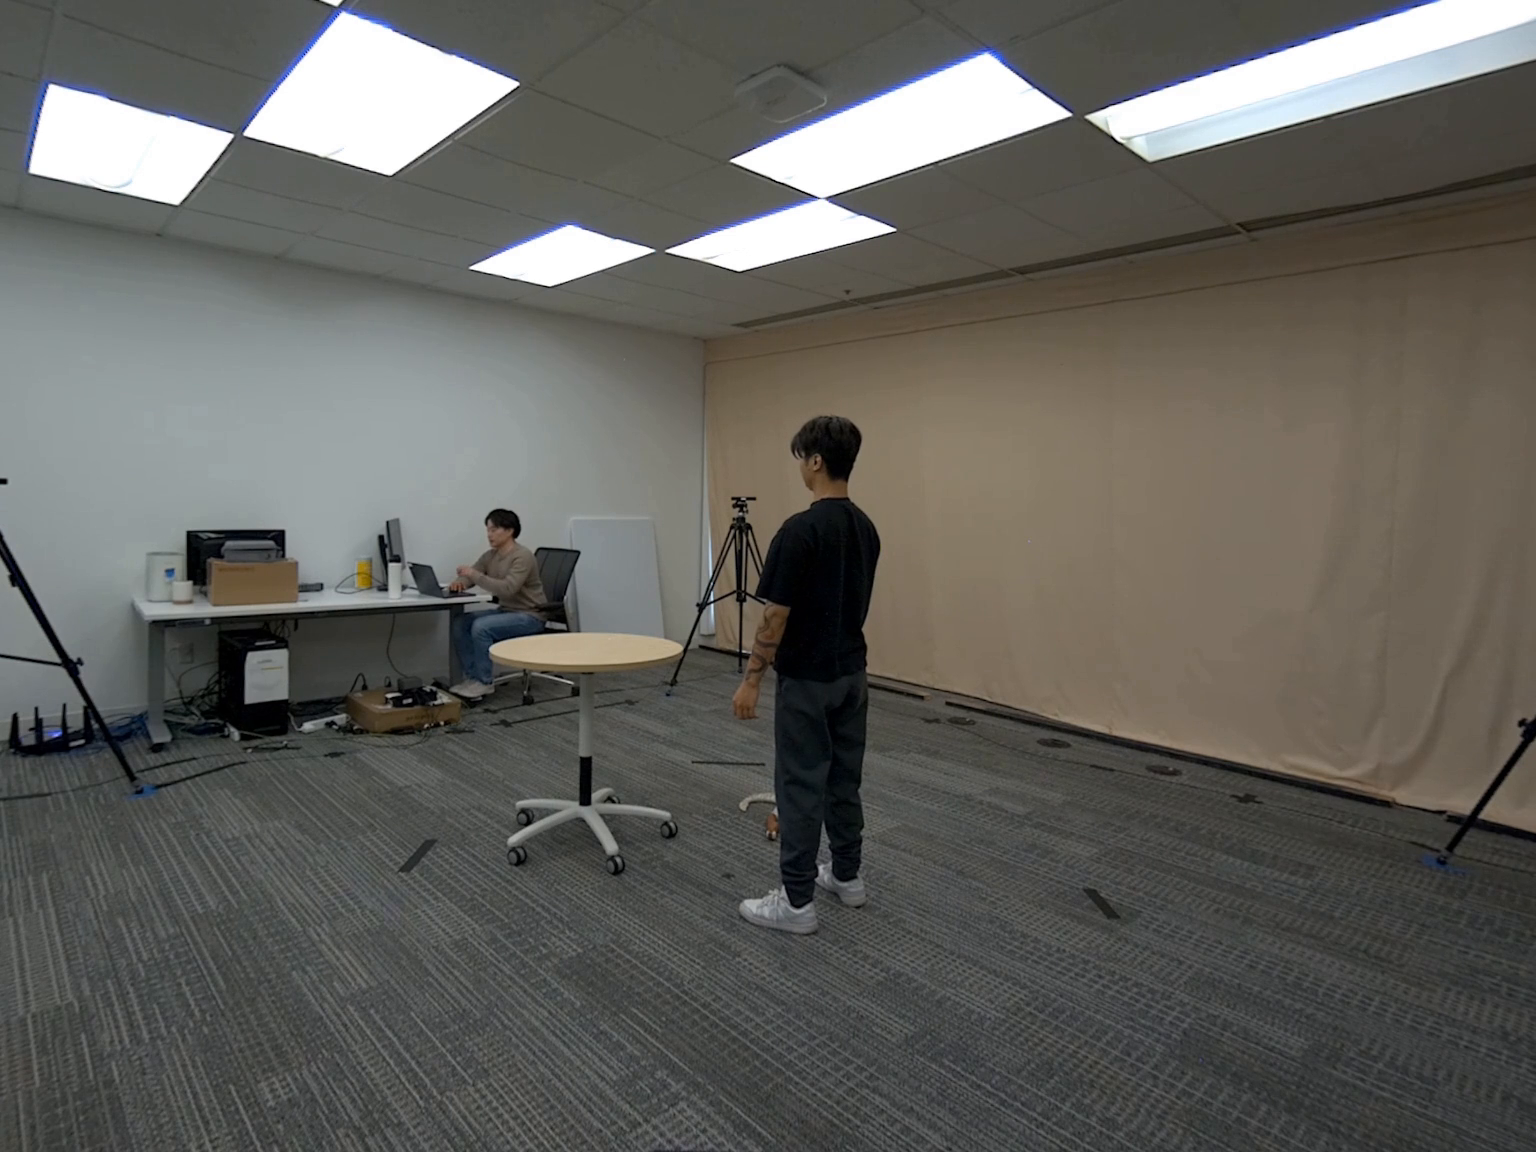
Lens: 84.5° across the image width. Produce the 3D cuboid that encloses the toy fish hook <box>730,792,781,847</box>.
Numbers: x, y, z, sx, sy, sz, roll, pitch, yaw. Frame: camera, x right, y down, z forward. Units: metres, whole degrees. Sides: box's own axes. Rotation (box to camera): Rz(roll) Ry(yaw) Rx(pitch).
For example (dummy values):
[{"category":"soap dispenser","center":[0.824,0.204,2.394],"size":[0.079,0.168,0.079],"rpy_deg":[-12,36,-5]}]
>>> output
[{"category":"toy fish hook","center":[-0.027,1.048,3.683],"size":[0.225,0.048,0.505],"rpy_deg":[-6,4,4]}]
